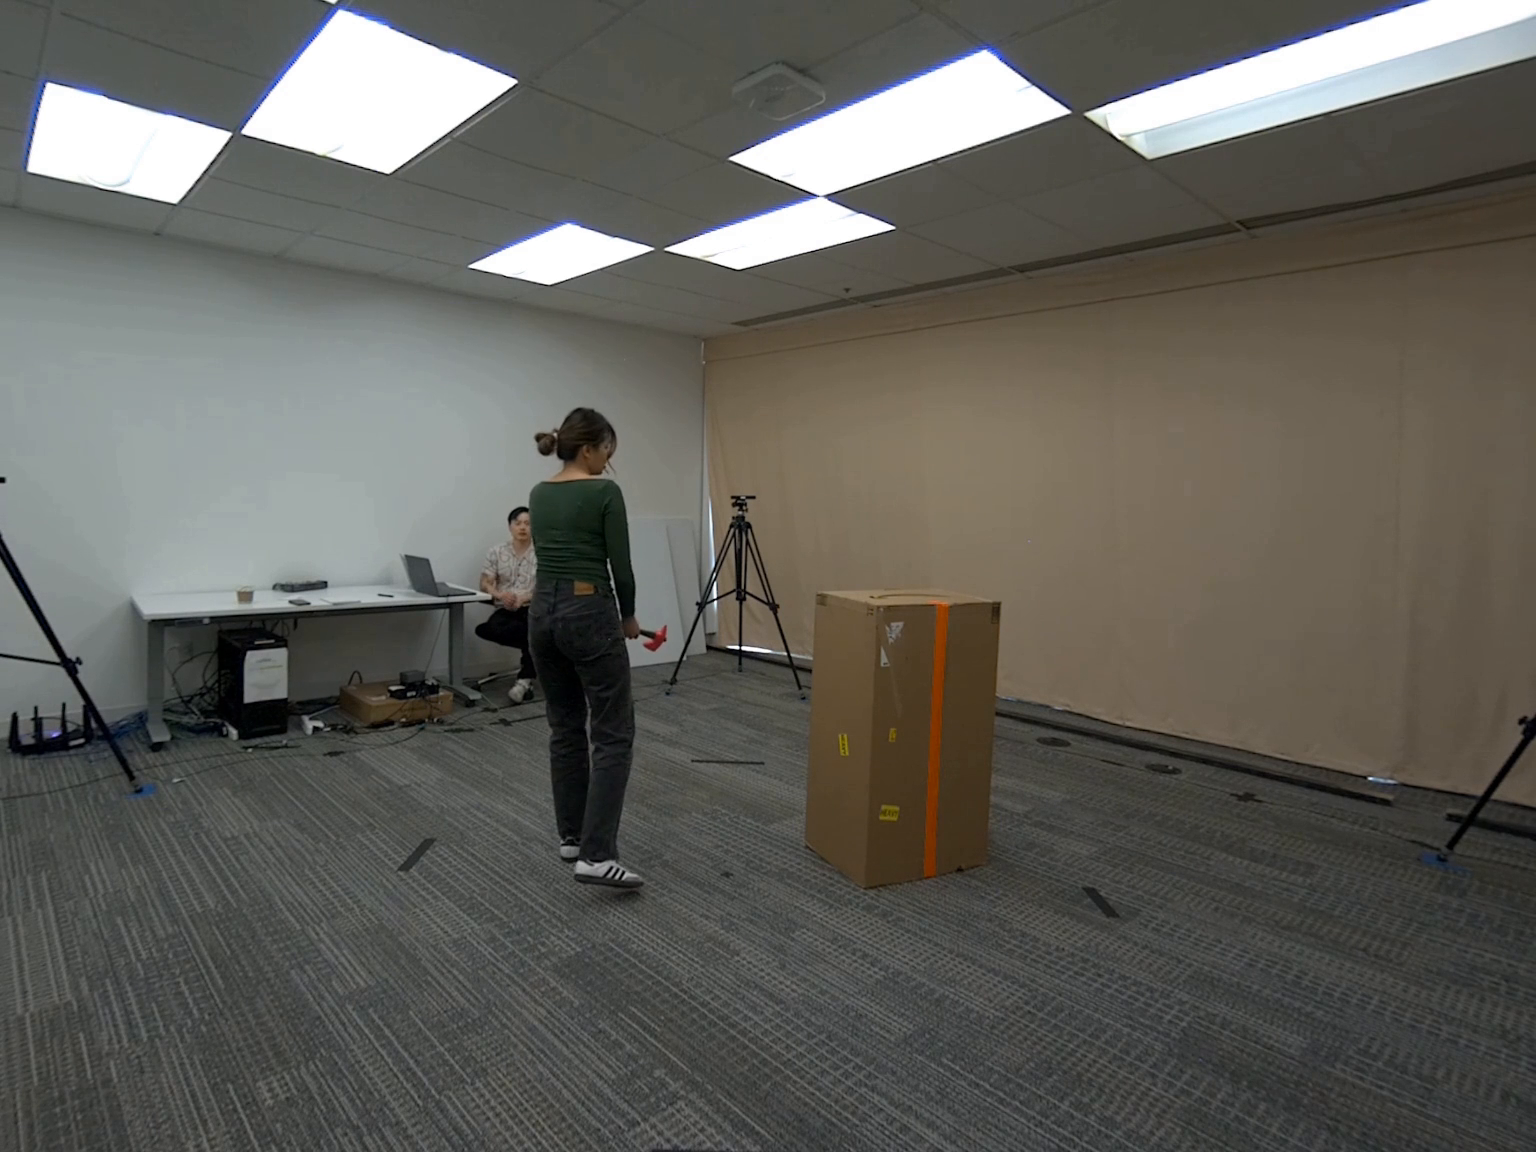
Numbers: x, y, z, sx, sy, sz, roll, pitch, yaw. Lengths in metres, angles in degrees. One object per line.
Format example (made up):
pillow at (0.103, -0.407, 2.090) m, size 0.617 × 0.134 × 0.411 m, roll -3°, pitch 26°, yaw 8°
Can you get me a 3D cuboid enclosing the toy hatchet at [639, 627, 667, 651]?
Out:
toy hatchet at (-0.543, 0.246, 3.379) m, size 0.267 × 0.129 × 0.030 m, roll 1°, pitch 30°, yaw -12°
